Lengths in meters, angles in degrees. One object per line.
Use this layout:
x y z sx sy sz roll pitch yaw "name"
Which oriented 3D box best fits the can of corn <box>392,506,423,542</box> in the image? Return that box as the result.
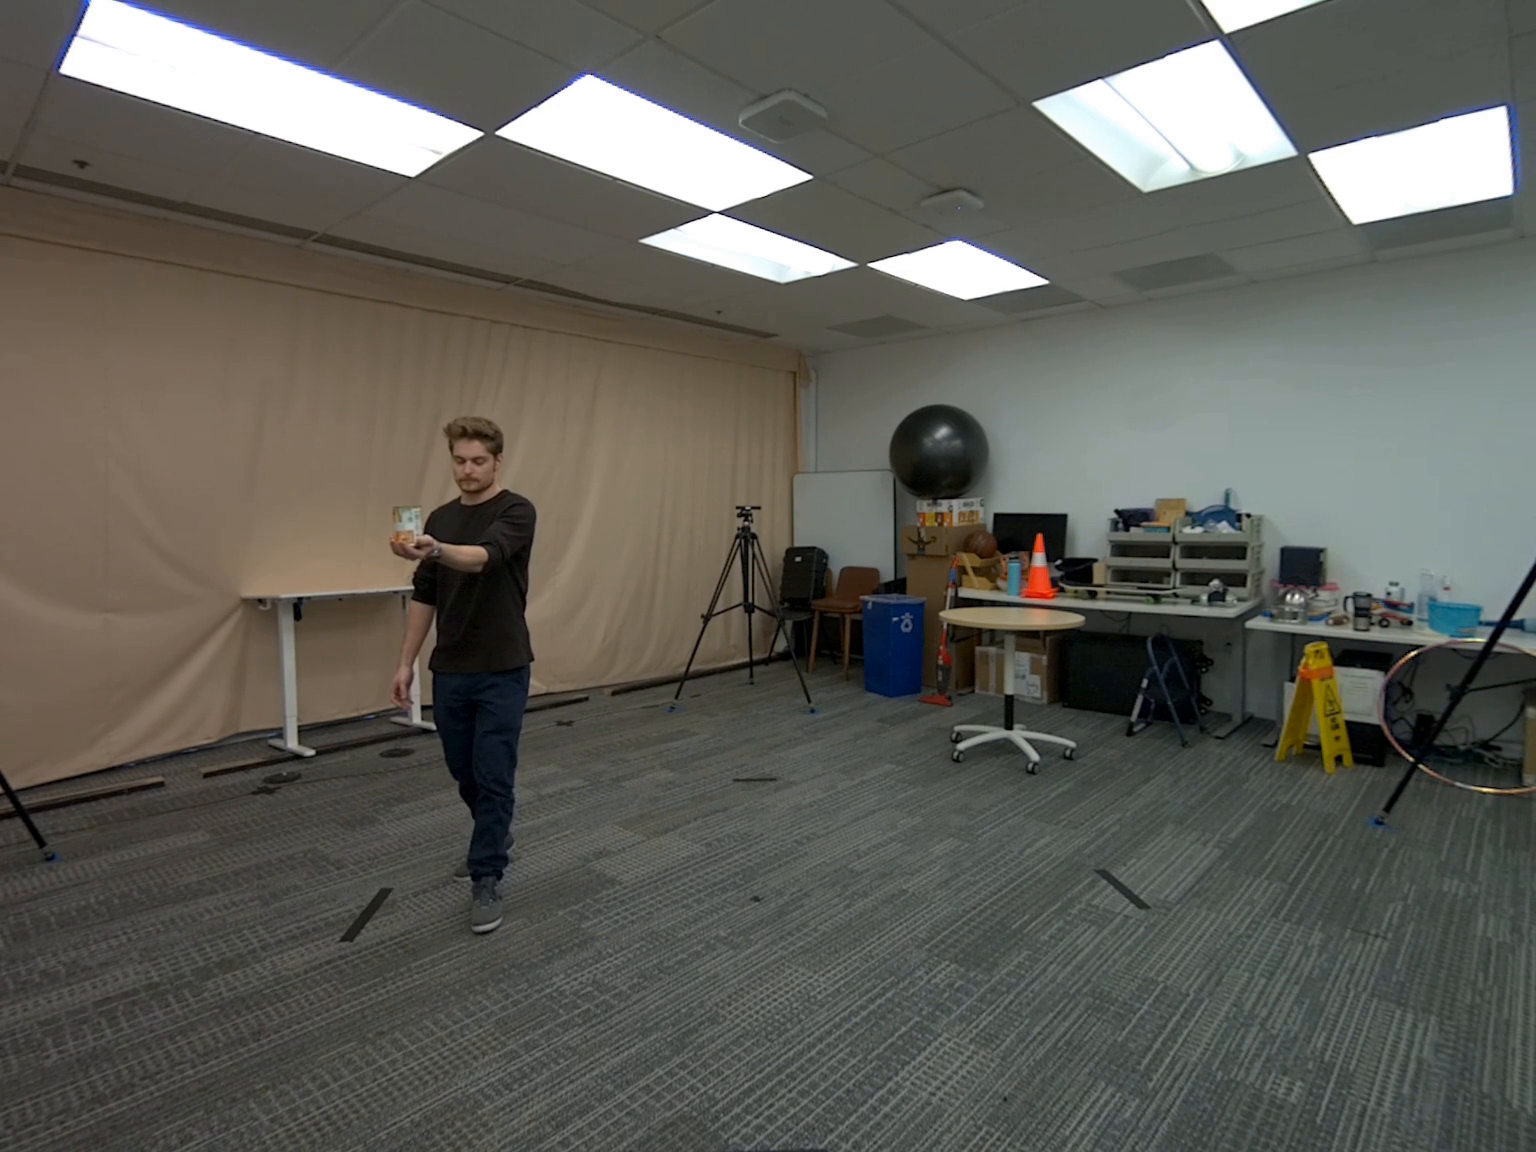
-1.012 -0.137 2.381 0.074 0.111 0.074 -2 1 -2 "can of corn"
